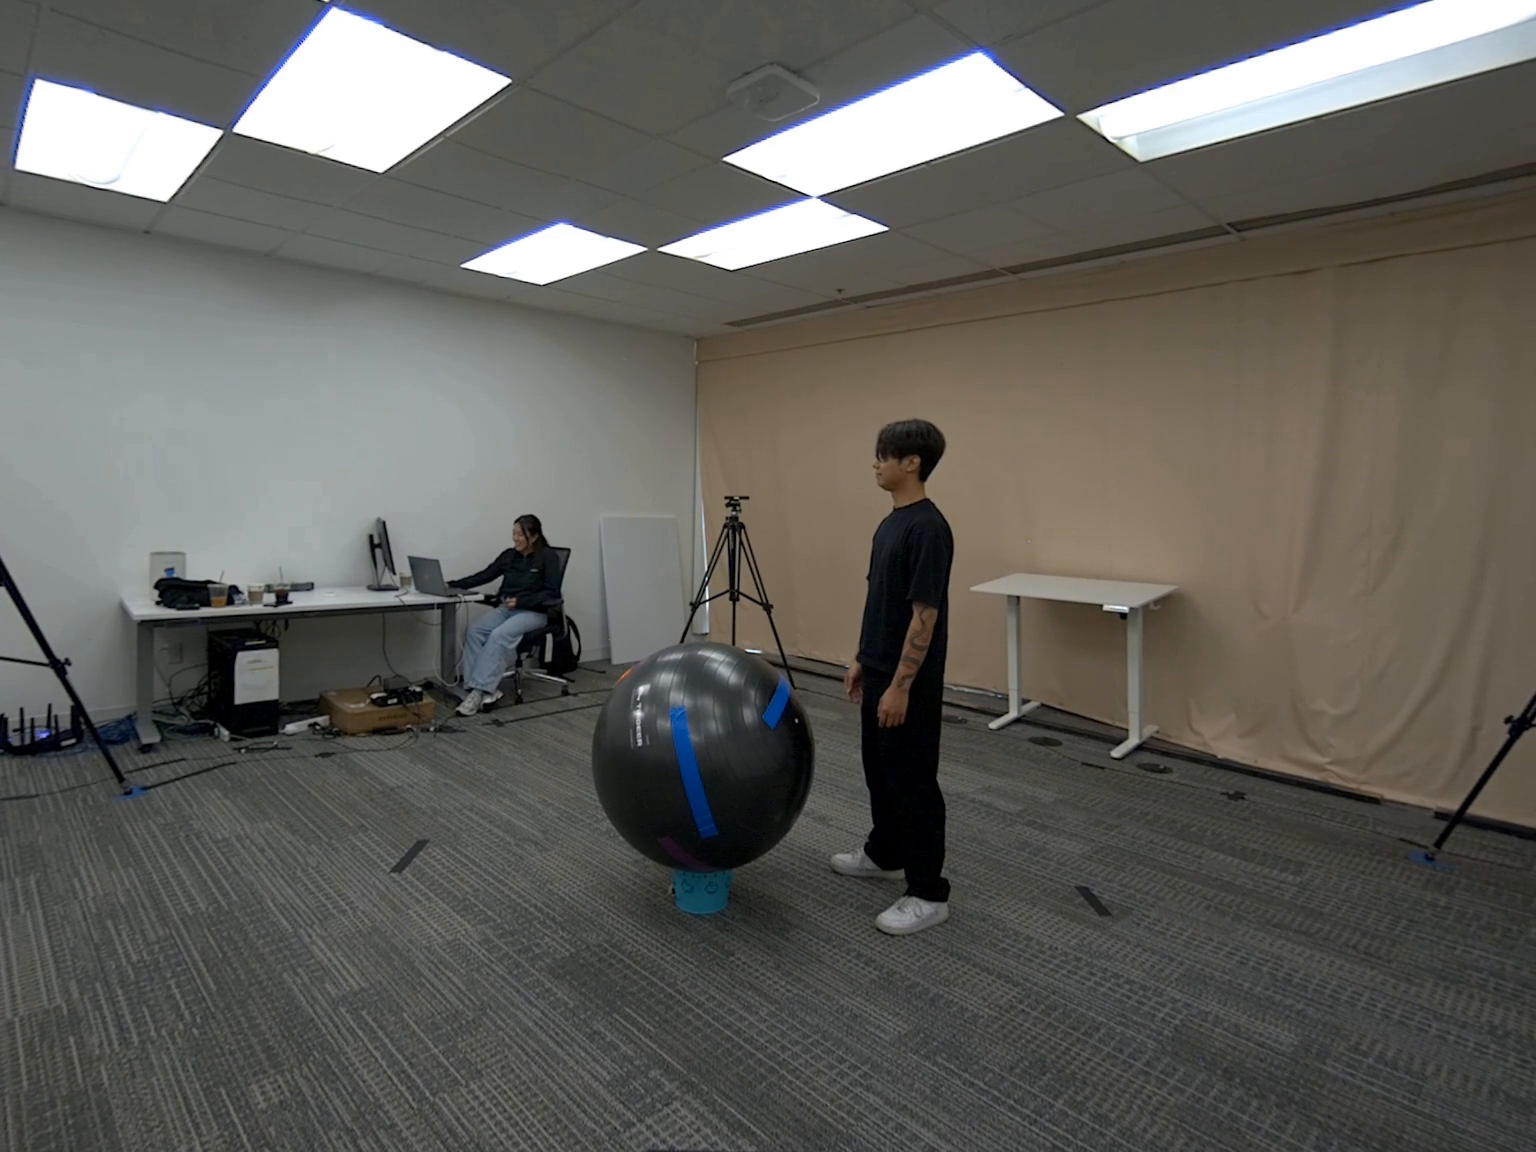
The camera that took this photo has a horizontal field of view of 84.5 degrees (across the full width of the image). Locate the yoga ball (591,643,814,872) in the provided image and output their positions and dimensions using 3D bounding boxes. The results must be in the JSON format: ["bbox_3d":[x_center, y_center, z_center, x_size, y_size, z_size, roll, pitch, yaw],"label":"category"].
[{"bbox_3d":[-0.232,0.612,2.878,0.757,0.756,0.761,1,4,-1],"label":"yoga ball"}]
